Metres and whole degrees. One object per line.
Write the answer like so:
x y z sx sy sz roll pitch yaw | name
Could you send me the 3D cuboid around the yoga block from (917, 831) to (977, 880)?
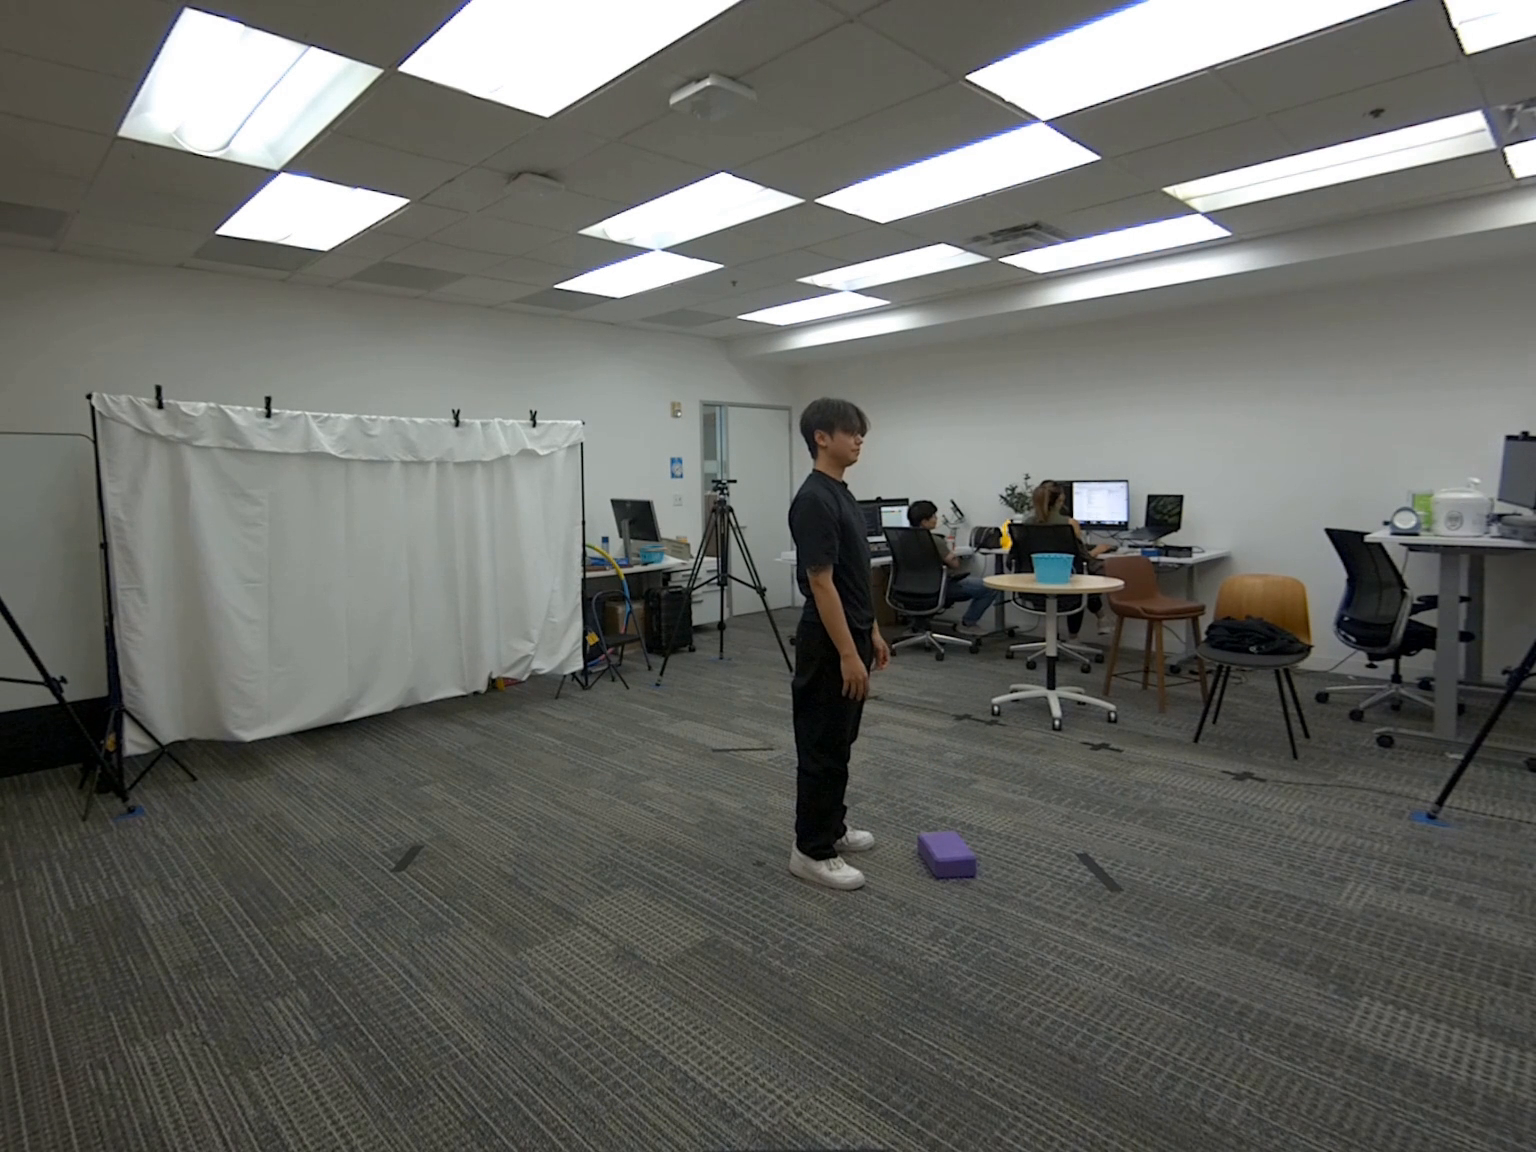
0.635 0.994 3.063 0.148 0.076 0.231 -2 5 -4 | yoga block
